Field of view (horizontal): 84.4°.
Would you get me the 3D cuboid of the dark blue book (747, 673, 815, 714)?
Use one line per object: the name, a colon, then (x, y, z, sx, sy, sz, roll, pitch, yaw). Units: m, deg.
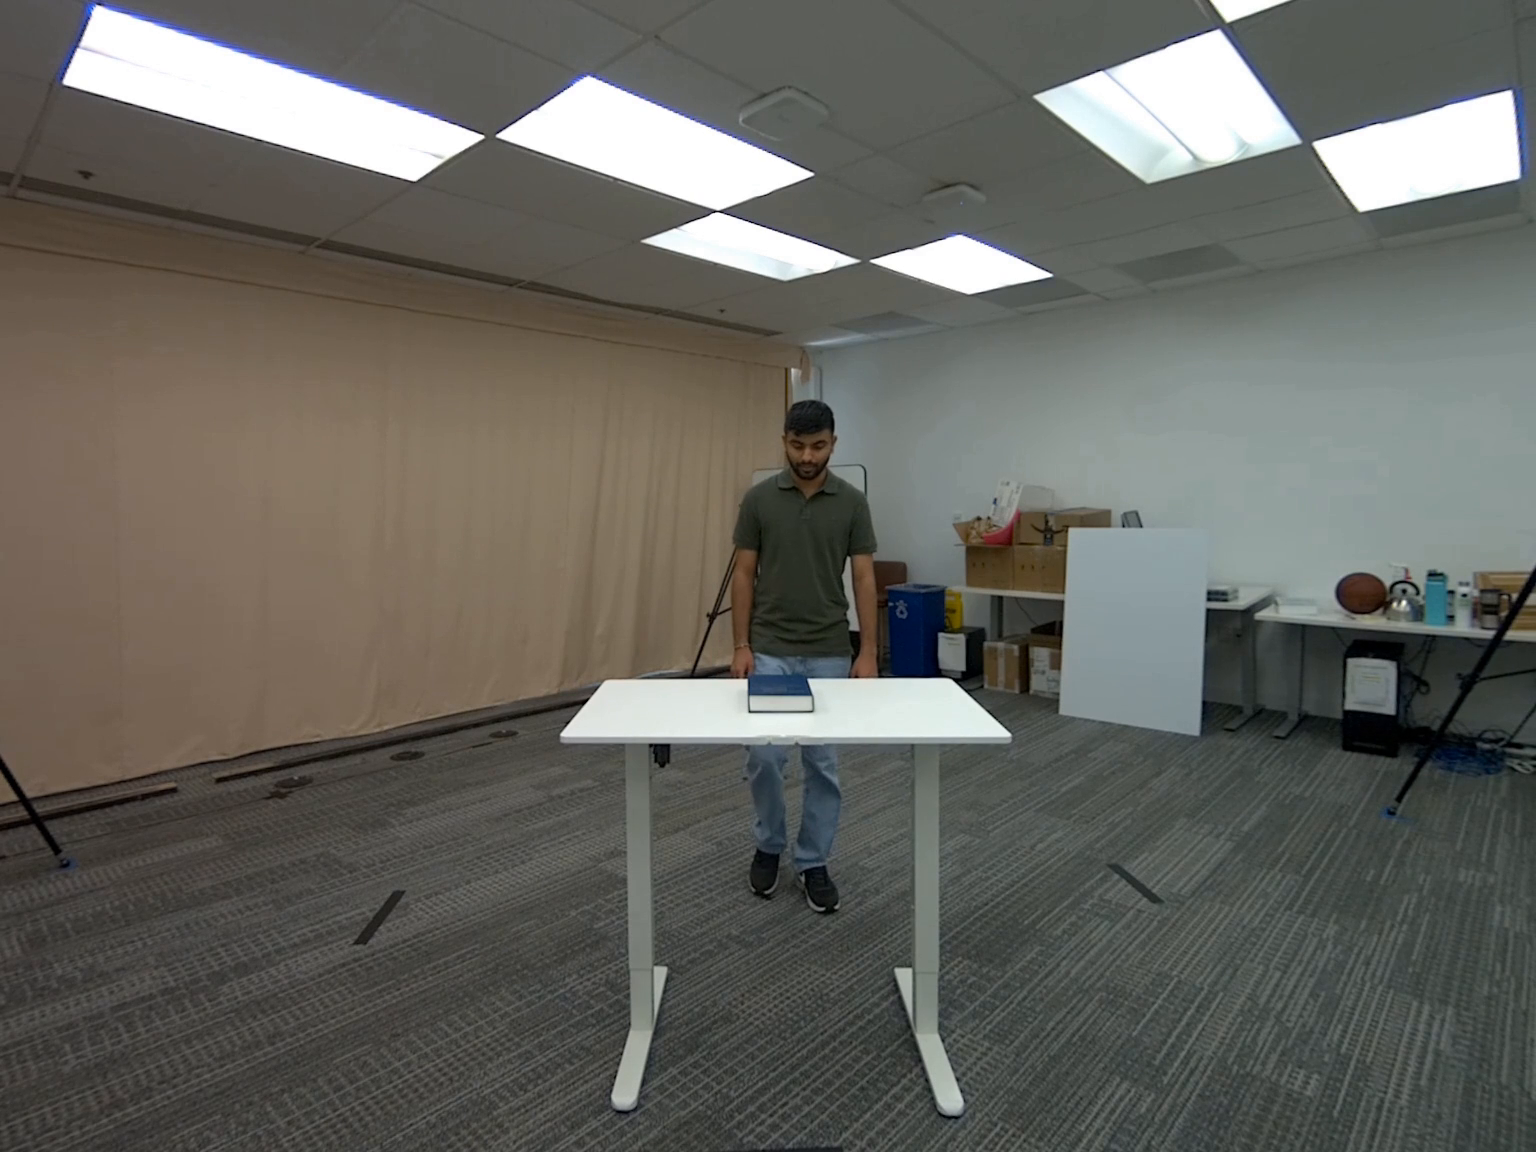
dark blue book: (0.039, 0.301, 2.189, 0.163, 0.045, 0.246, -1, 6, -2)
